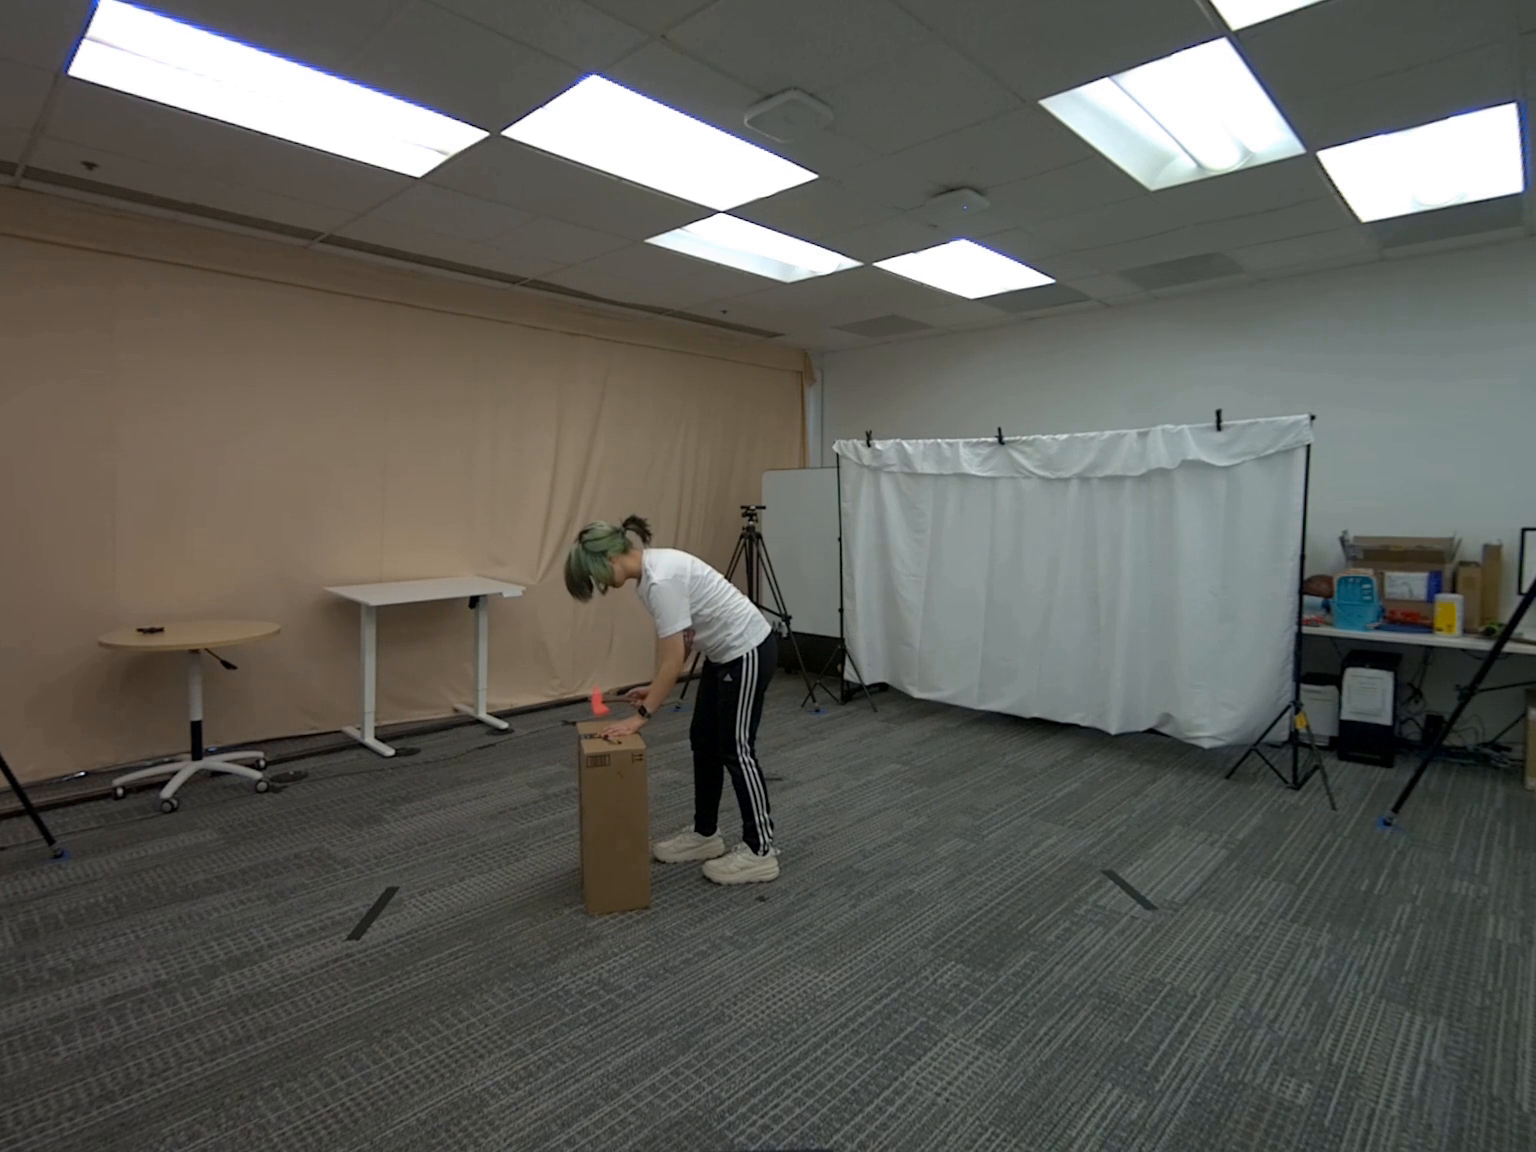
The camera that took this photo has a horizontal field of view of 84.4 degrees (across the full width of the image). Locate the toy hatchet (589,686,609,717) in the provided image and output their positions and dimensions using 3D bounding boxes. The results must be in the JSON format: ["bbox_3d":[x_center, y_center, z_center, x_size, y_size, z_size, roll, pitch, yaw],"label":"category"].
[{"bbox_3d":[-0.565,0.510,3.285,0.272,0.132,0.029,12,-37,7],"label":"toy hatchet"}]
